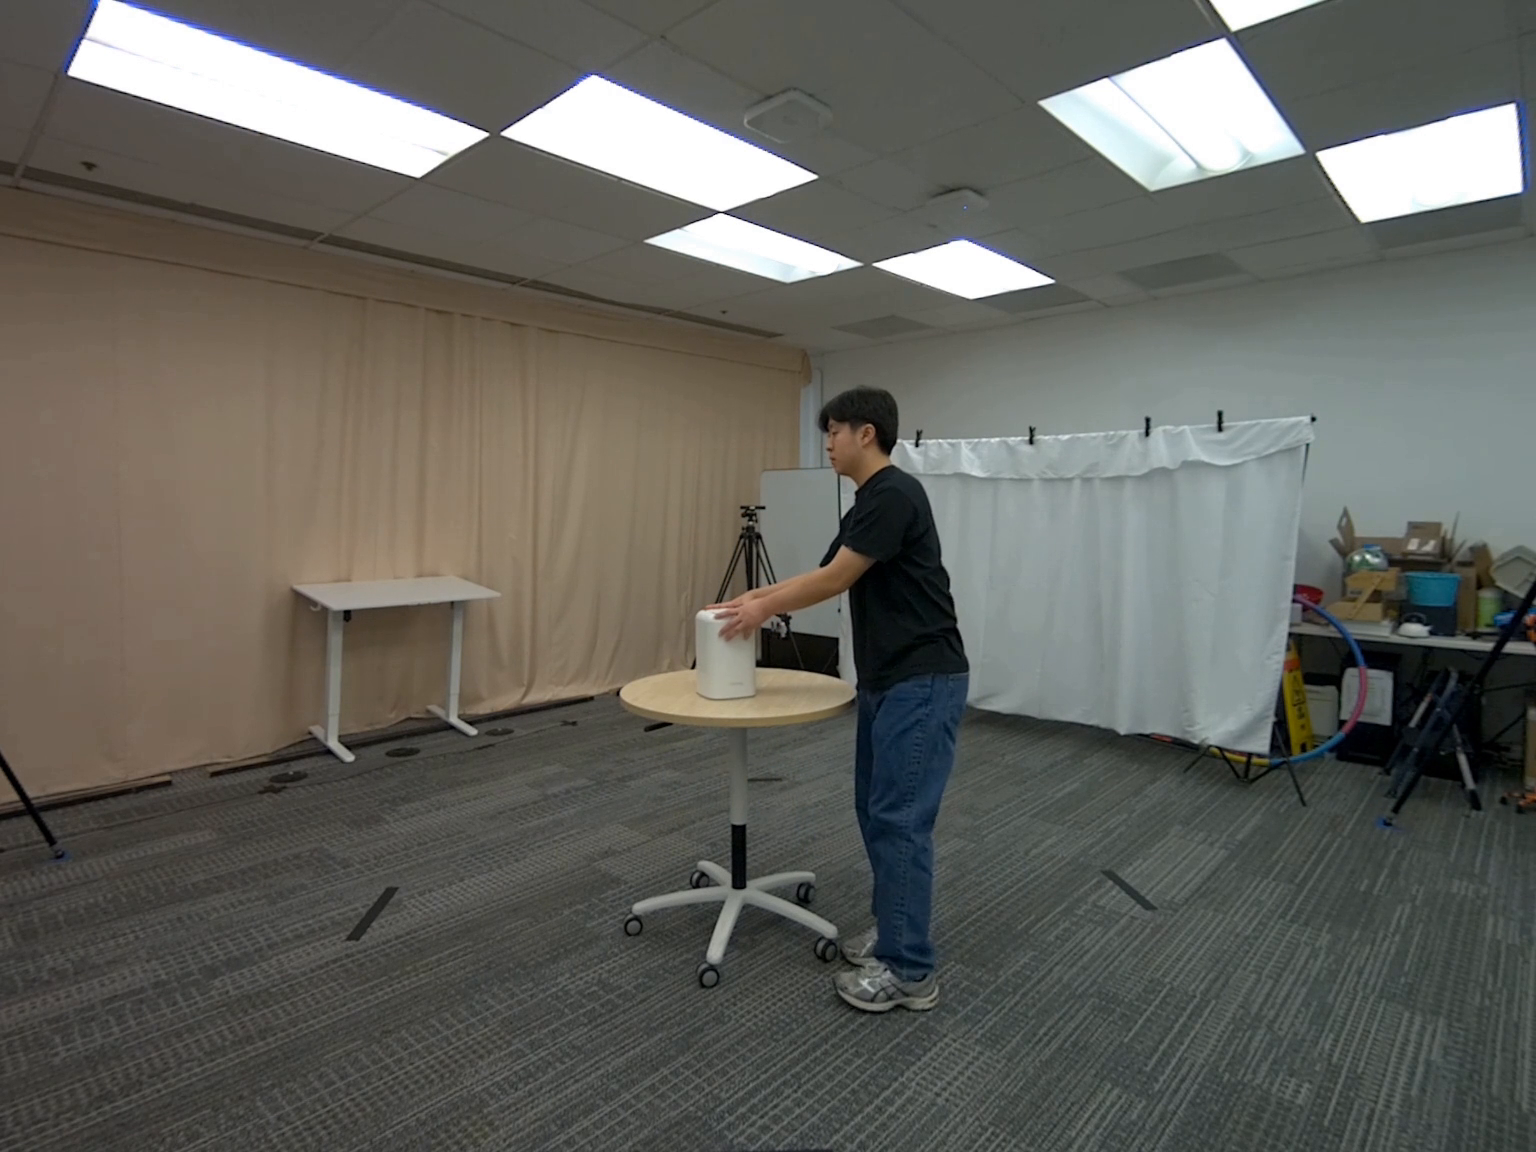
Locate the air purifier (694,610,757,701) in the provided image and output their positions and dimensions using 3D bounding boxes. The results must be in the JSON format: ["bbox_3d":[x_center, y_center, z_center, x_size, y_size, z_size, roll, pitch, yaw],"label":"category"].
[{"bbox_3d":[-0.133,0.246,2.665,0.168,0.264,0.175,-3,5,-20],"label":"air purifier"}]
